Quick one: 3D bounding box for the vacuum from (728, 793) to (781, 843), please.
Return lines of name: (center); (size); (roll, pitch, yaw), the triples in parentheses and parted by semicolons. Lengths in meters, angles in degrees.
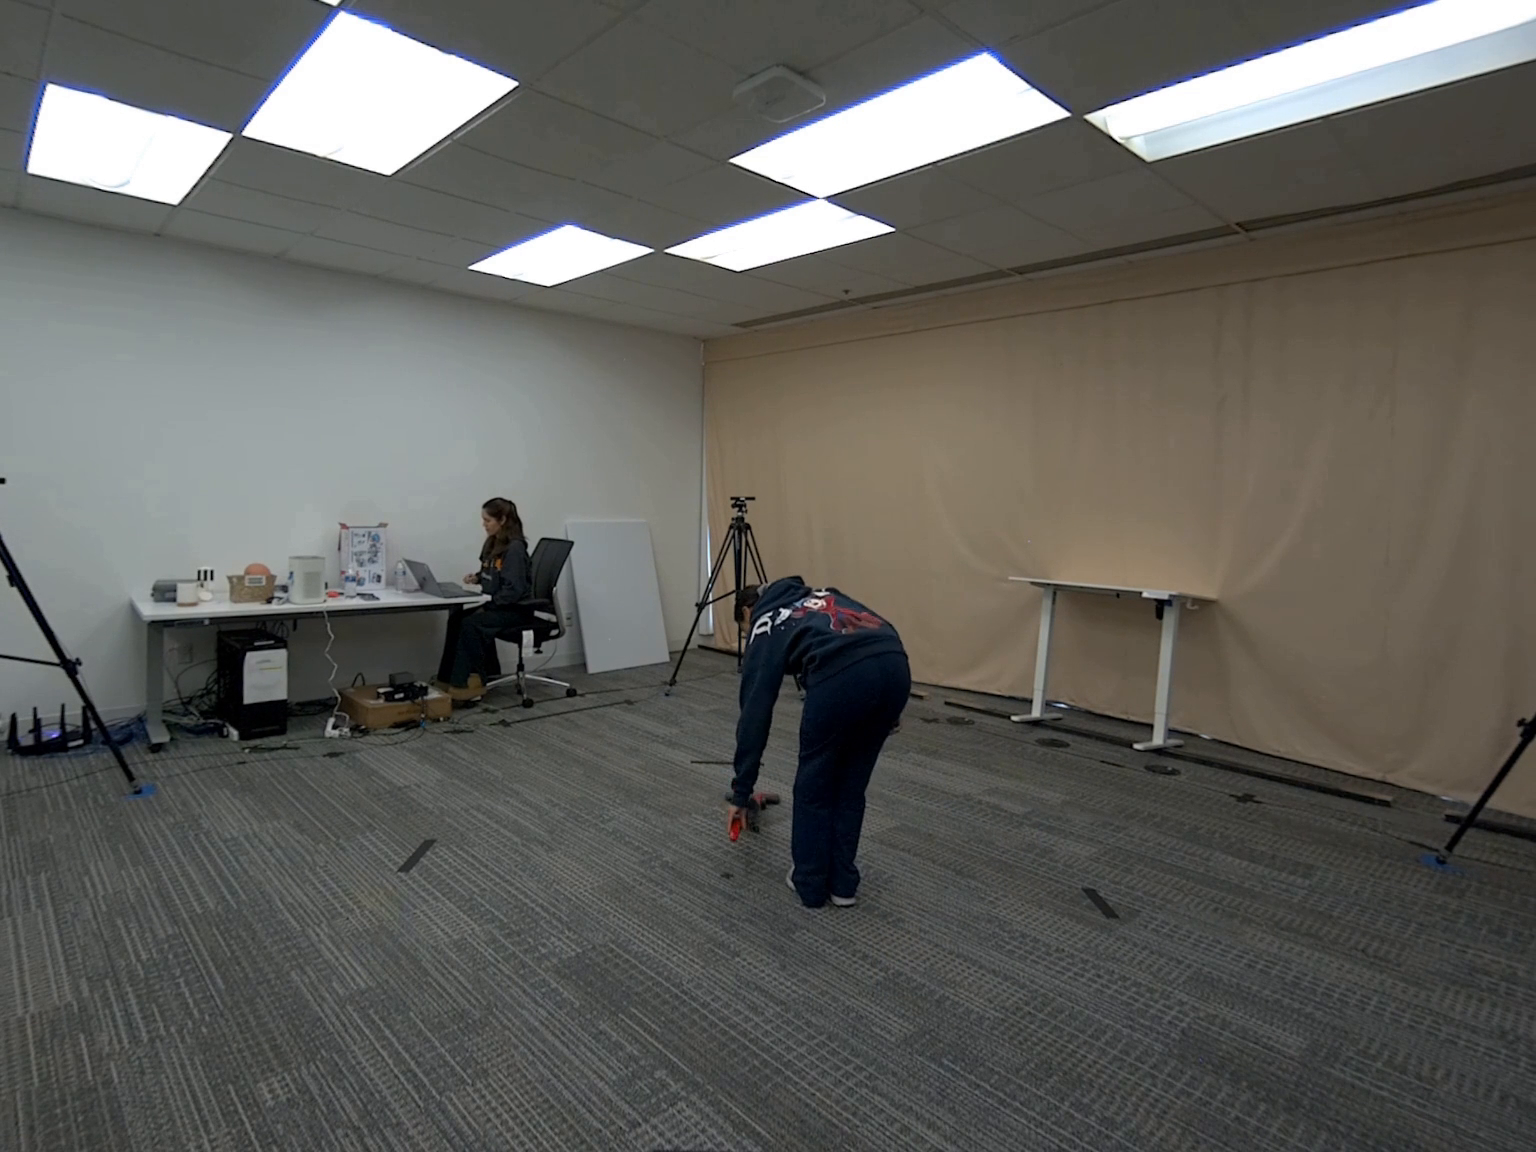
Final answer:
vacuum: (-0.103, 0.945, 3.334); (0.254, 0.144, 1.039); (13, -6, 4)
